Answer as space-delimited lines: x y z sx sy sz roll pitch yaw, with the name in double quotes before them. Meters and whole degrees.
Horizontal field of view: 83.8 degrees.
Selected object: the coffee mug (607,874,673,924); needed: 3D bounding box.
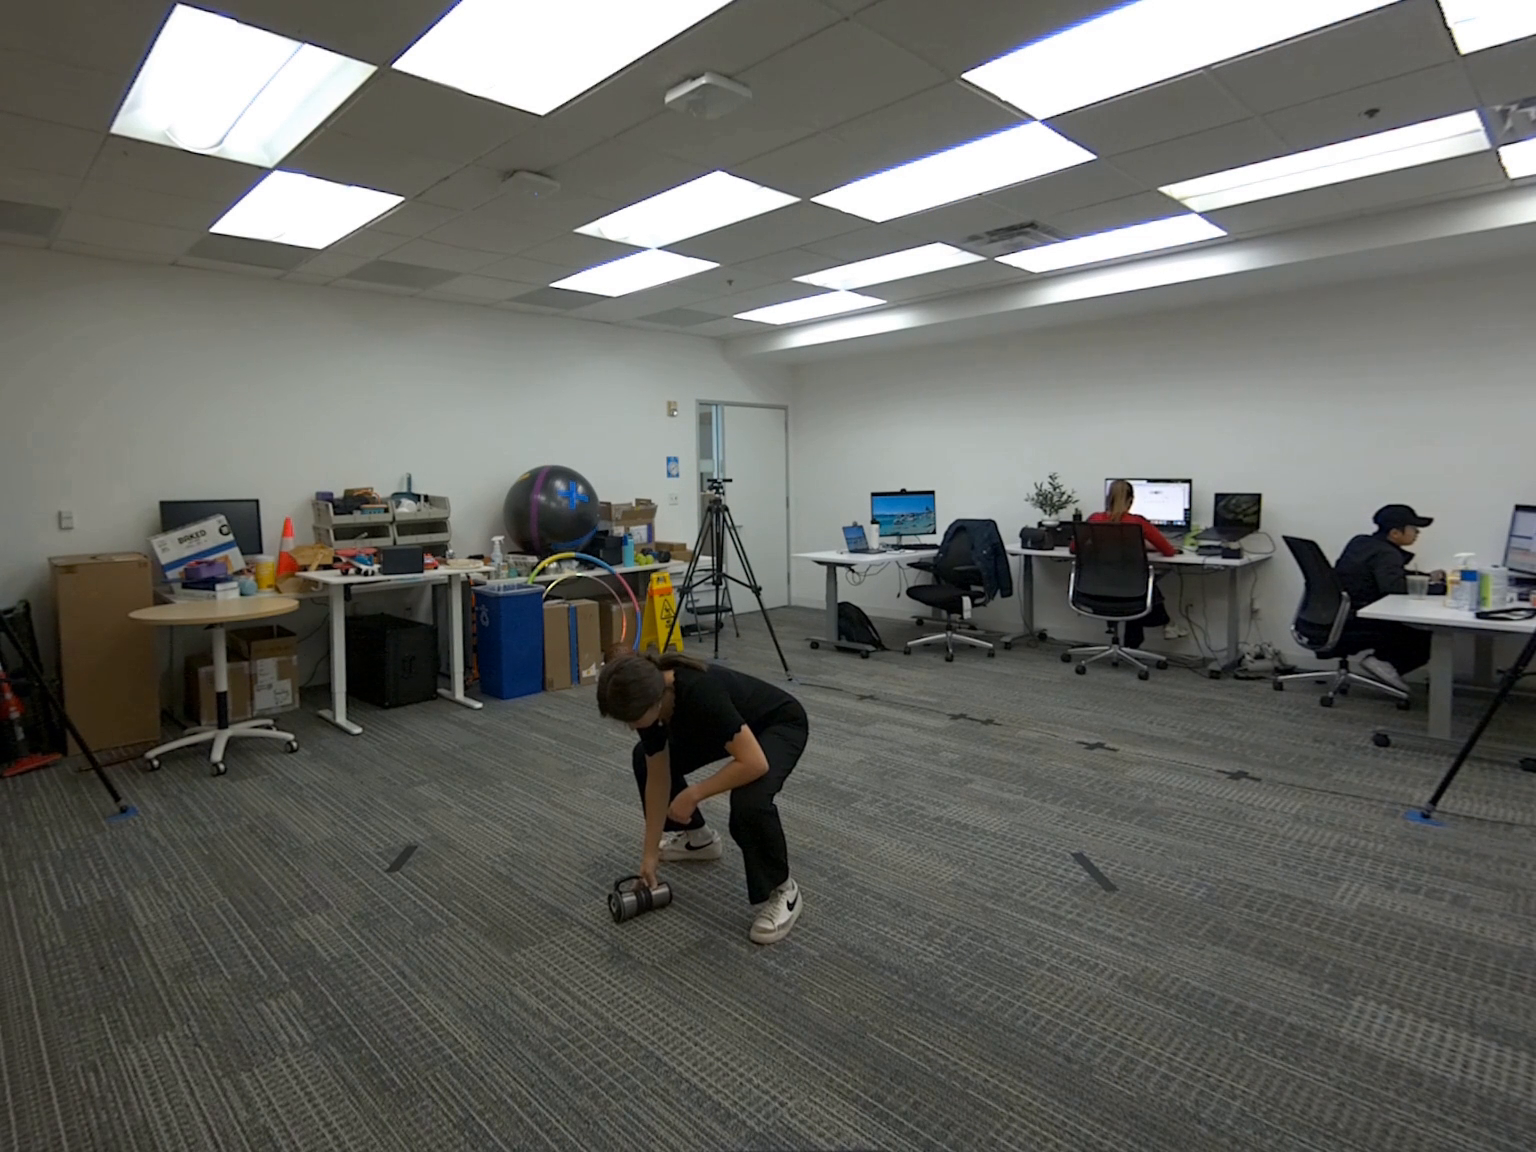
"coffee mug" -0.419 1.041 2.772 0.198 0.087 0.126 -4 47 -30
